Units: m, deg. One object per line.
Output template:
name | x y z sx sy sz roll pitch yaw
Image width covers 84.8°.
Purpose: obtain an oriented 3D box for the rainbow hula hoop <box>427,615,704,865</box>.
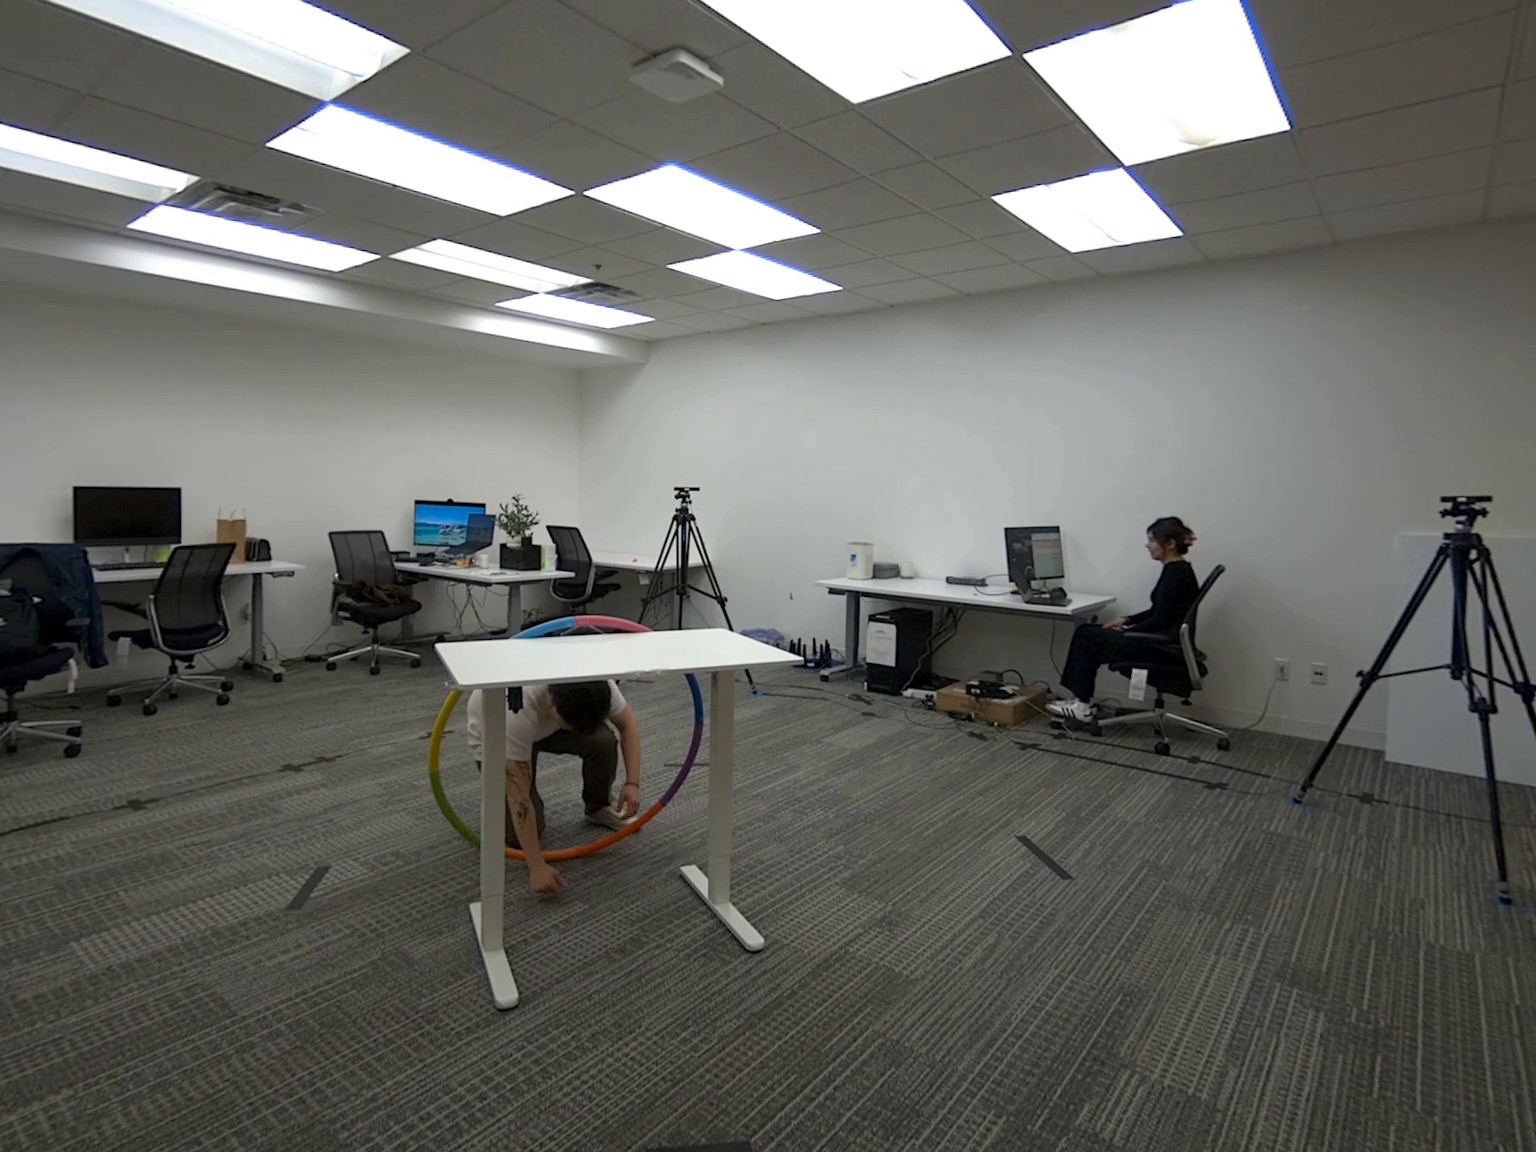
rainbow hula hoop | -0.698 0.588 3.029 0.955 0.965 0.037 -1 20 -25
